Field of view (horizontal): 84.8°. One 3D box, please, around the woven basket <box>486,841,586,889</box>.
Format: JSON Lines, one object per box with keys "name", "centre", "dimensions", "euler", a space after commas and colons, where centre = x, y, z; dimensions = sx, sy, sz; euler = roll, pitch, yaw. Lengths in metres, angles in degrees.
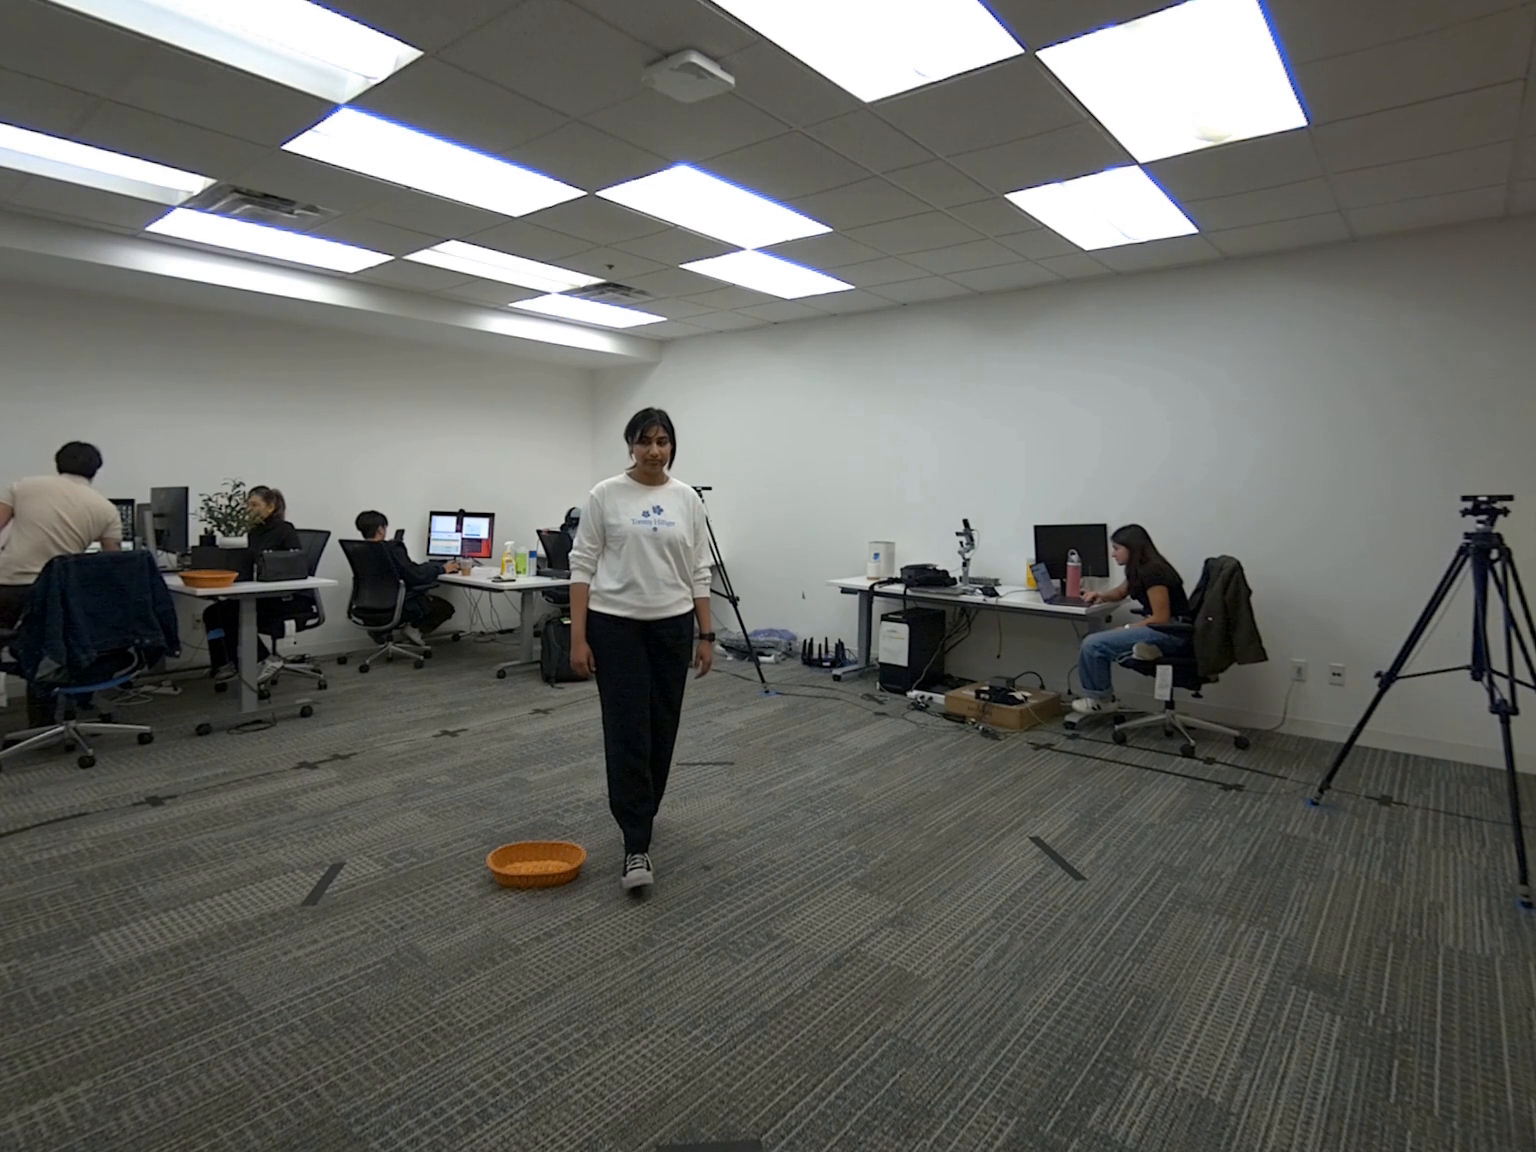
{"name": "woven basket", "centre": [-0.827, 1.026, 3.030], "dimensions": [0.349, 0.073, 0.255], "euler": [1, 7, -3]}
